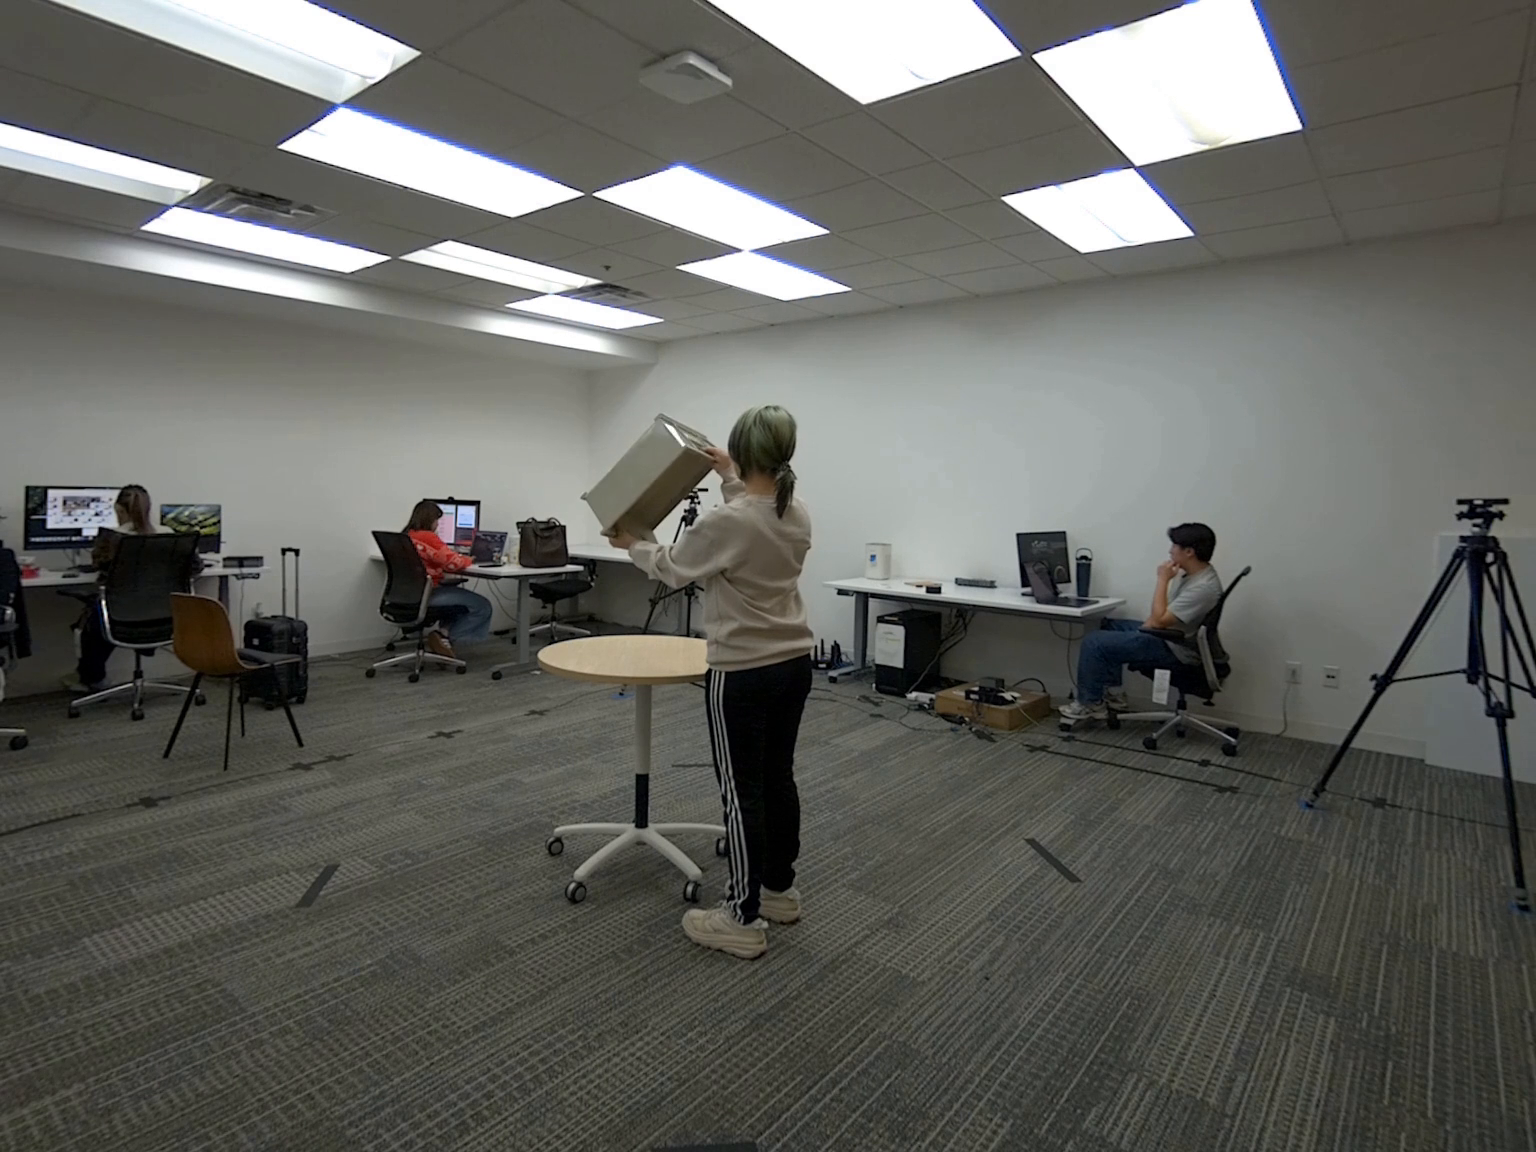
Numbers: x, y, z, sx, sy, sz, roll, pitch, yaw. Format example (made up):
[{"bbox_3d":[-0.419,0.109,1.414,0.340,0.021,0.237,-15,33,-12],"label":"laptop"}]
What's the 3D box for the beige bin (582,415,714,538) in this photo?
[{"bbox_3d":[-0.382,-0.316,2.974,0.423,0.195,0.364,-43,-25,15],"label":"beige bin"}]
